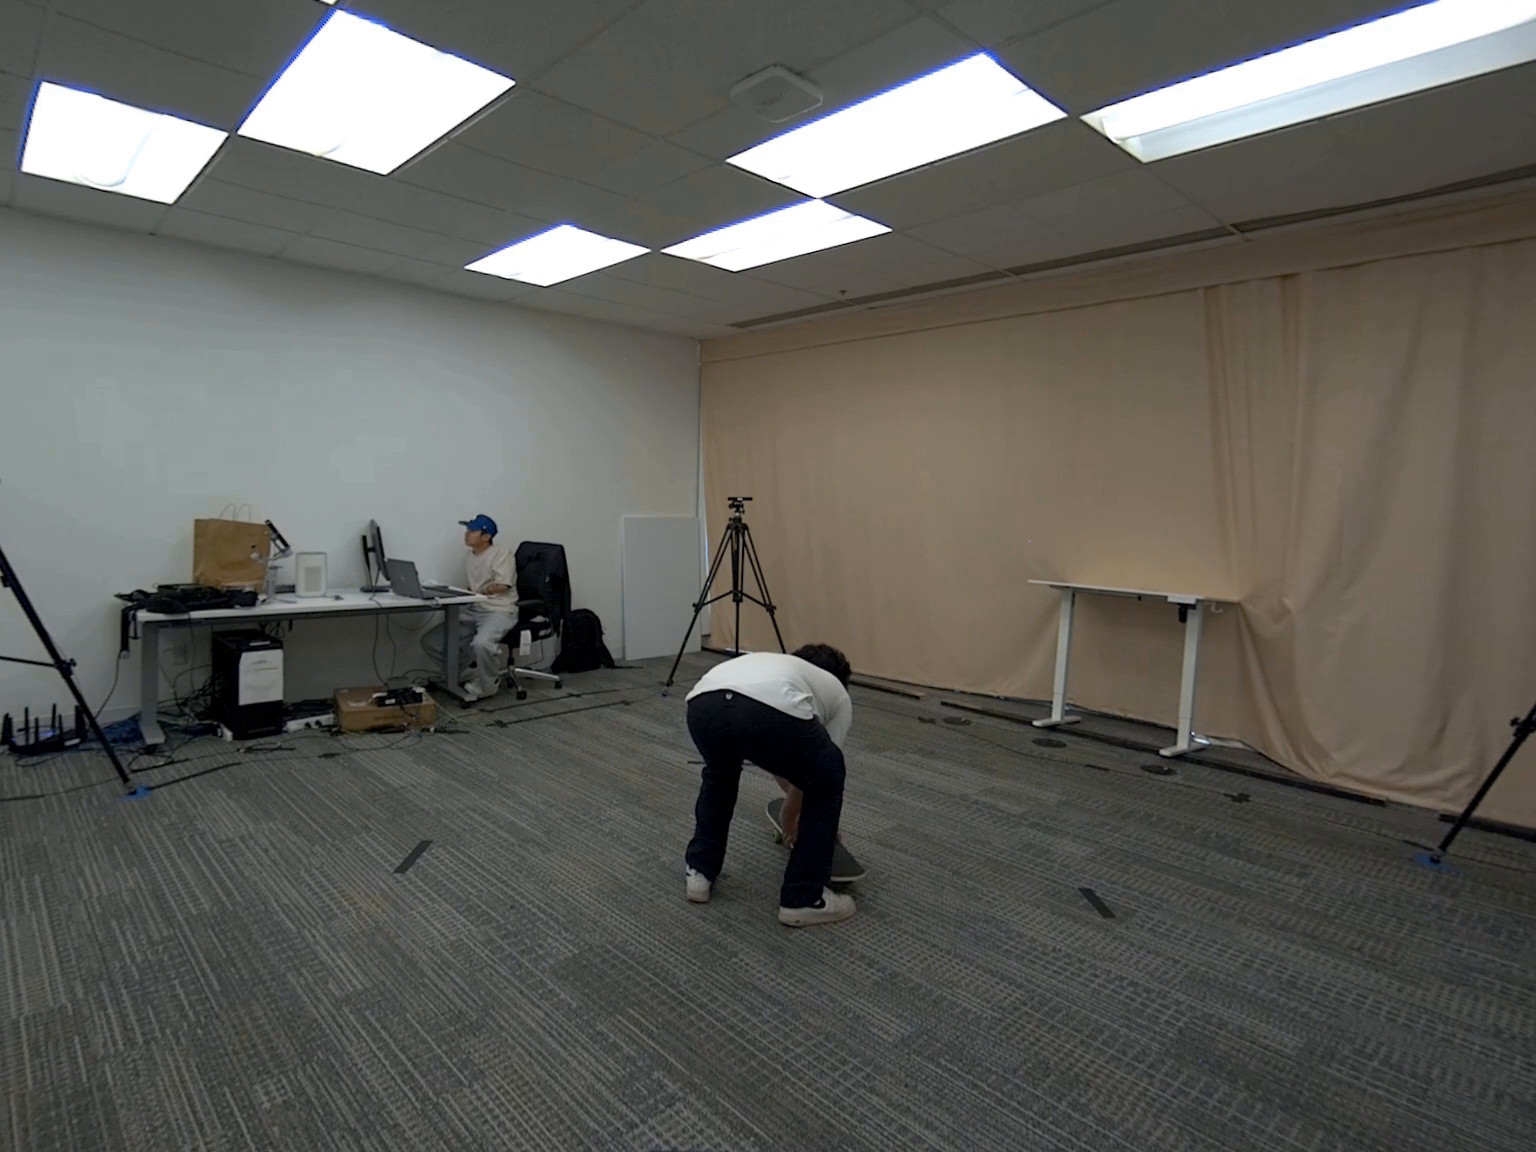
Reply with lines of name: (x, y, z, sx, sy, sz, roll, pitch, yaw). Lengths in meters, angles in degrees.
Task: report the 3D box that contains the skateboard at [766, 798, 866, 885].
skateboard: (0.161, 1.044, 3.253, 0.191, 0.110, 0.797, 0, 5, -16)
